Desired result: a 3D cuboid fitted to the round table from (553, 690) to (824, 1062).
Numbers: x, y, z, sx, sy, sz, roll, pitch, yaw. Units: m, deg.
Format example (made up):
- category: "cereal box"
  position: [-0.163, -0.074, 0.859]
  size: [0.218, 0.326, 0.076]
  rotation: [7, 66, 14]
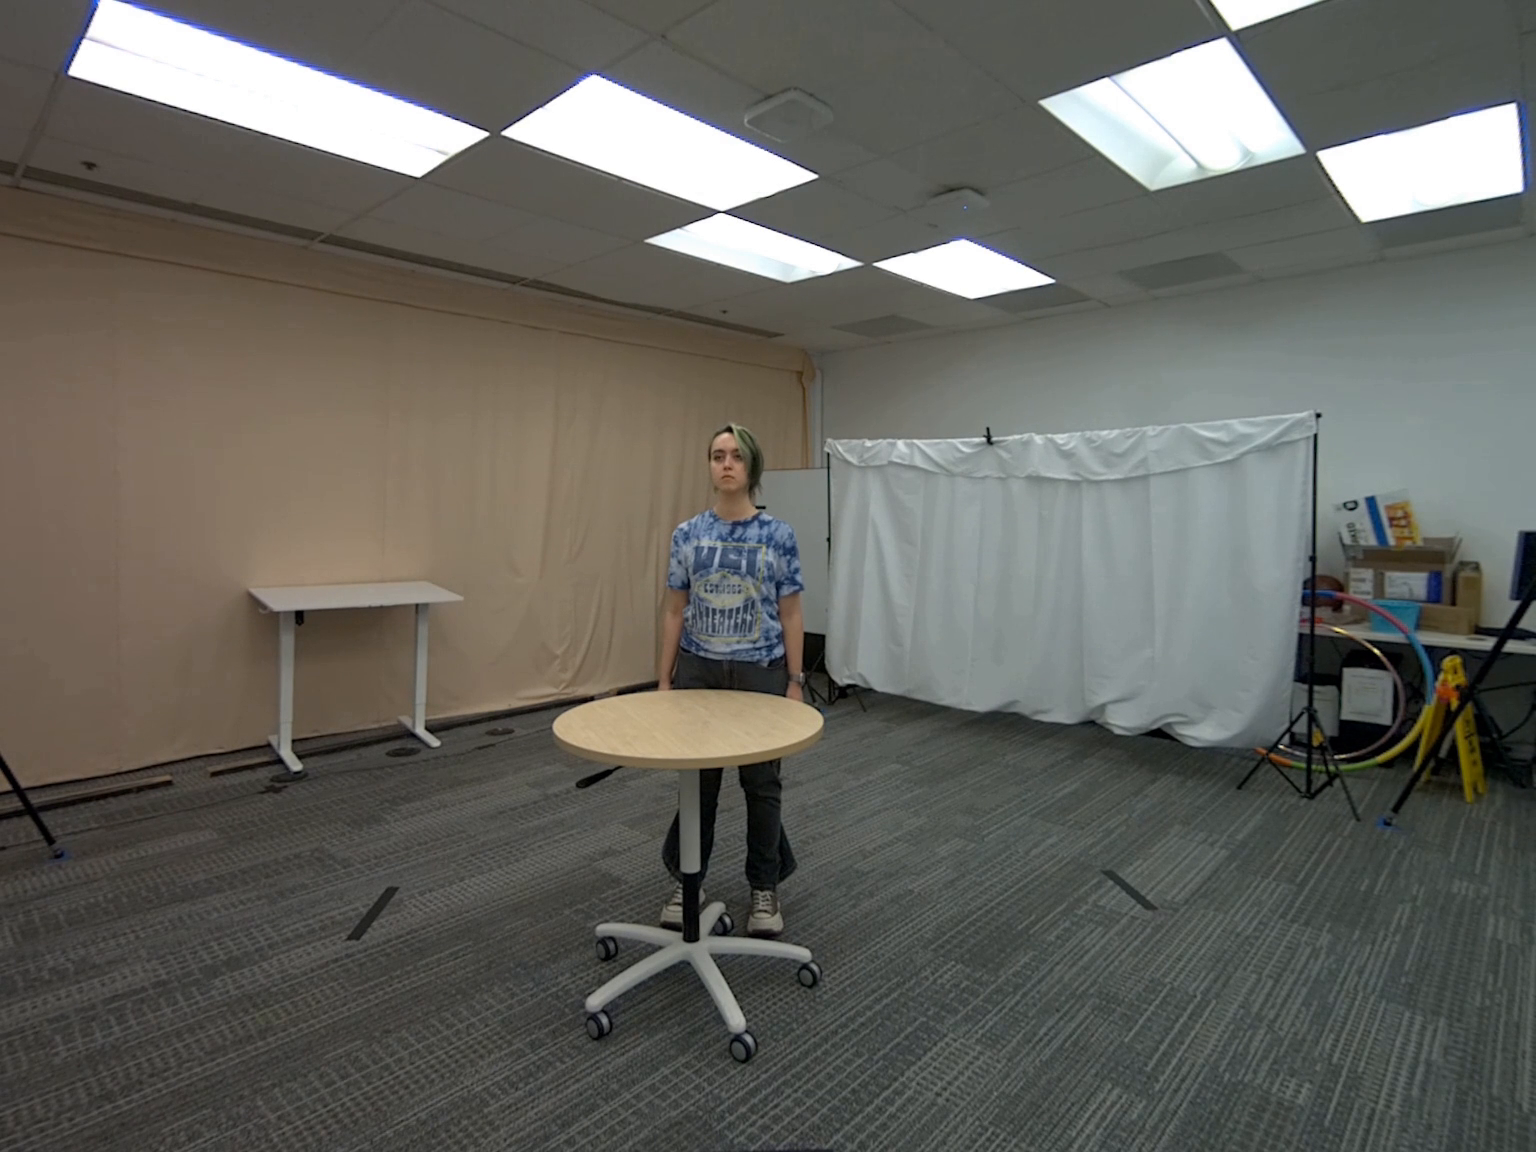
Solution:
- category: "round table"
  position: [-0.231, 0.796, 2.434]
  size: [0.784, 0.785, 0.788]
  rotation: [0, 4, -2]
